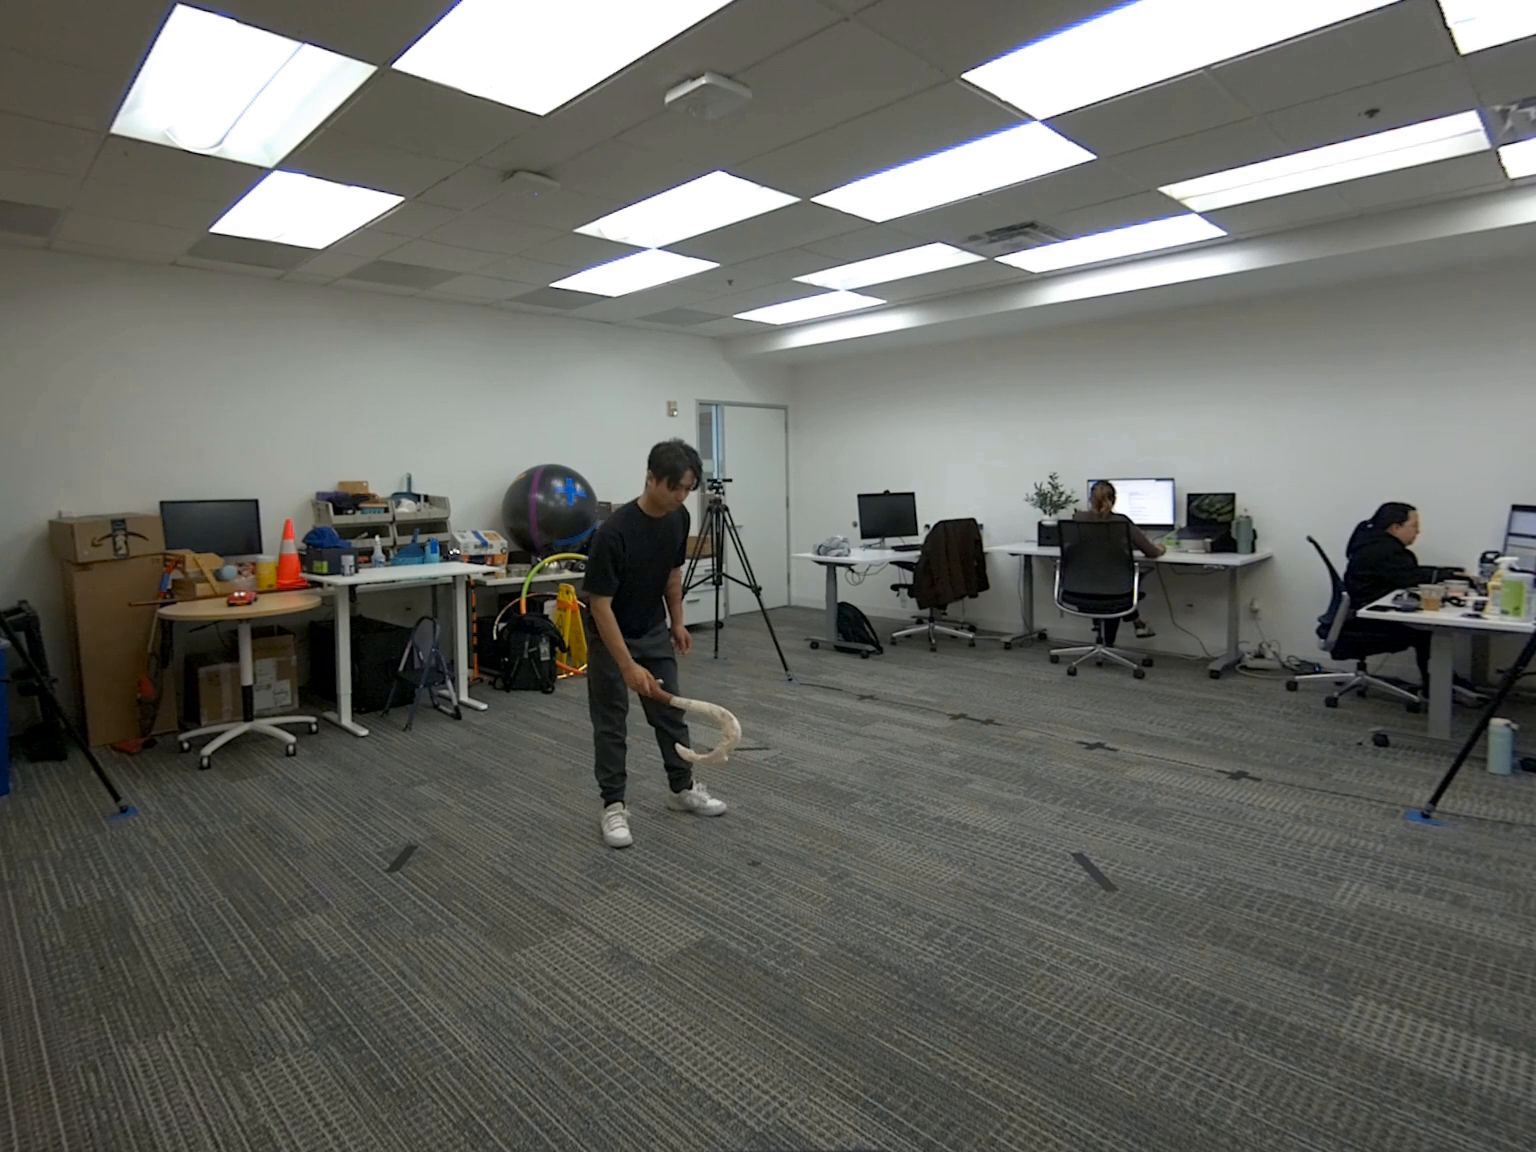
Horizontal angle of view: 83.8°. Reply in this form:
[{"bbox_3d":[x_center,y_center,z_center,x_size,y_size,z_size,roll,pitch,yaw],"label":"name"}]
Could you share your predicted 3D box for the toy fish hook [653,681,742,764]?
[{"bbox_3d":[-0.331,0.525,3.089,0.522,0.225,0.047,21,-30,26],"label":"toy fish hook"}]
